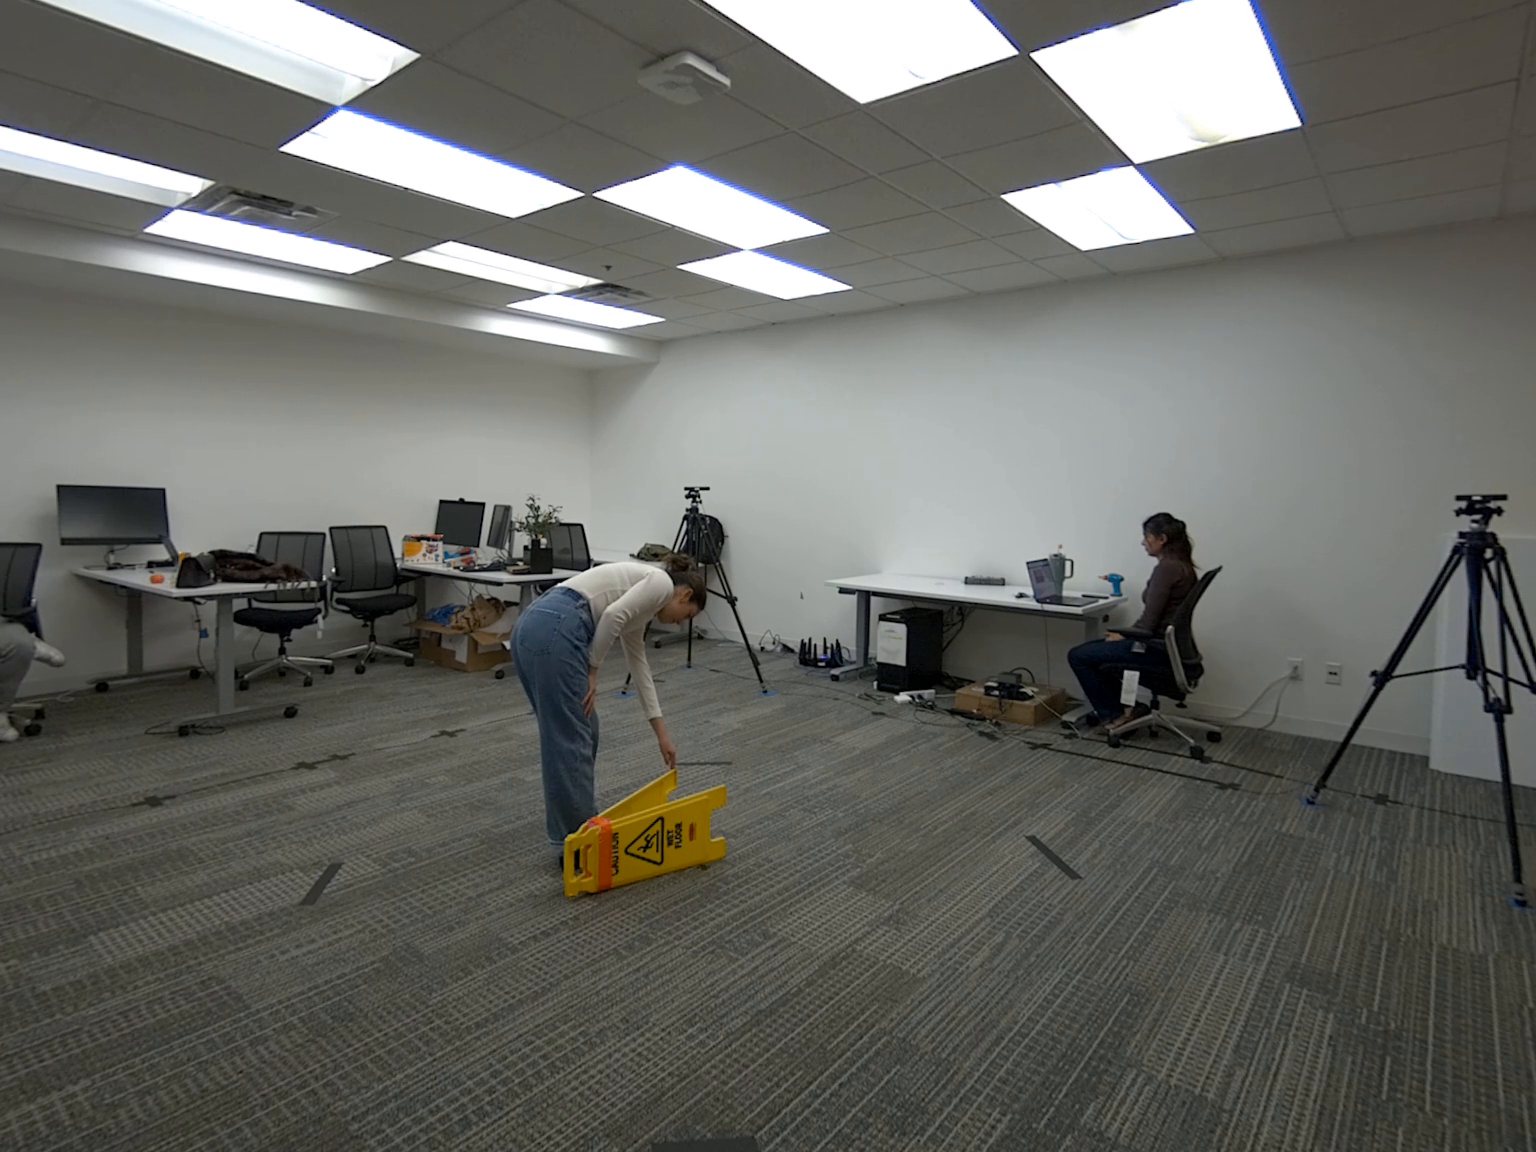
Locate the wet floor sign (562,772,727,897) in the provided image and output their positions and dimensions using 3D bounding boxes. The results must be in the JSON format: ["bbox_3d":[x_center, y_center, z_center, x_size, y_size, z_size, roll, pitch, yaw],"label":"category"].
[{"bbox_3d":[-0.472,0.940,3.050,0.299,0.281,0.628,3,7,41],"label":"wet floor sign"}]
